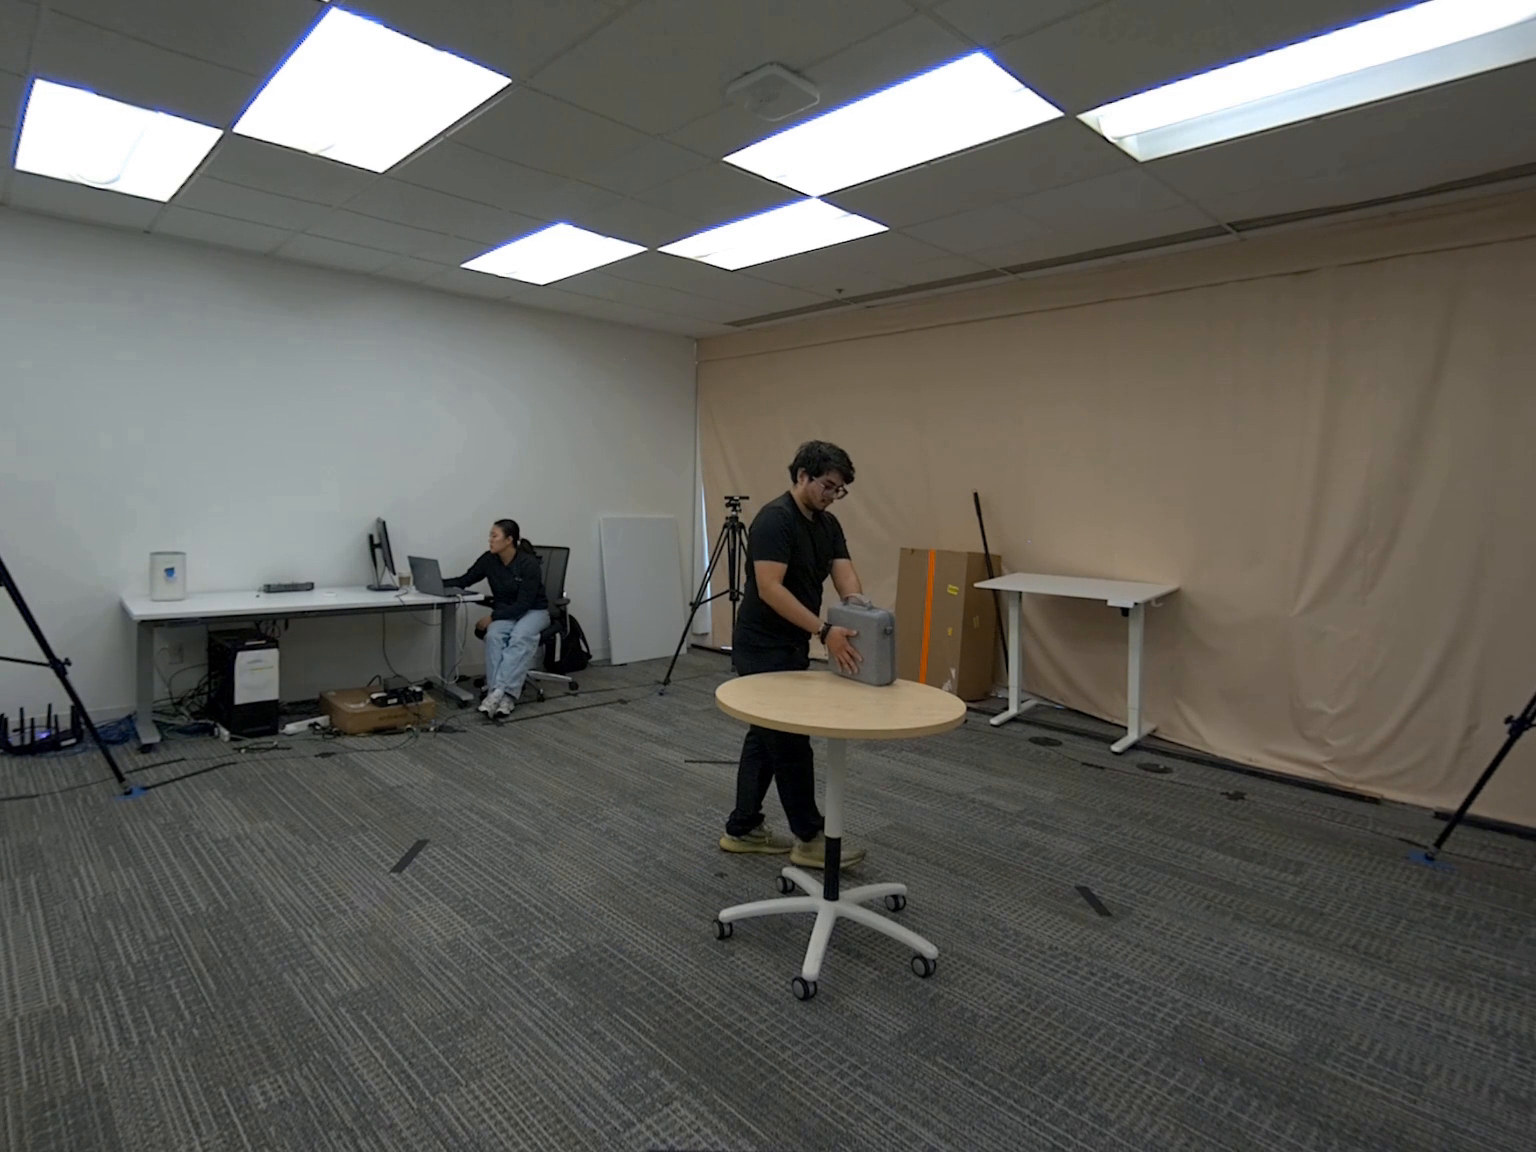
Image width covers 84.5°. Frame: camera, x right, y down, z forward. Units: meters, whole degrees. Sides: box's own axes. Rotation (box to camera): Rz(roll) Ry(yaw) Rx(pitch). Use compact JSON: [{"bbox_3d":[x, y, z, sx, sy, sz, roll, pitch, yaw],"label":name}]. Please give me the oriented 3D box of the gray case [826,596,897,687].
[{"bbox_3d":[0.314,0.228,2.855,0.102,0.259,0.263,-8,10,-36],"label":"gray case"}]
